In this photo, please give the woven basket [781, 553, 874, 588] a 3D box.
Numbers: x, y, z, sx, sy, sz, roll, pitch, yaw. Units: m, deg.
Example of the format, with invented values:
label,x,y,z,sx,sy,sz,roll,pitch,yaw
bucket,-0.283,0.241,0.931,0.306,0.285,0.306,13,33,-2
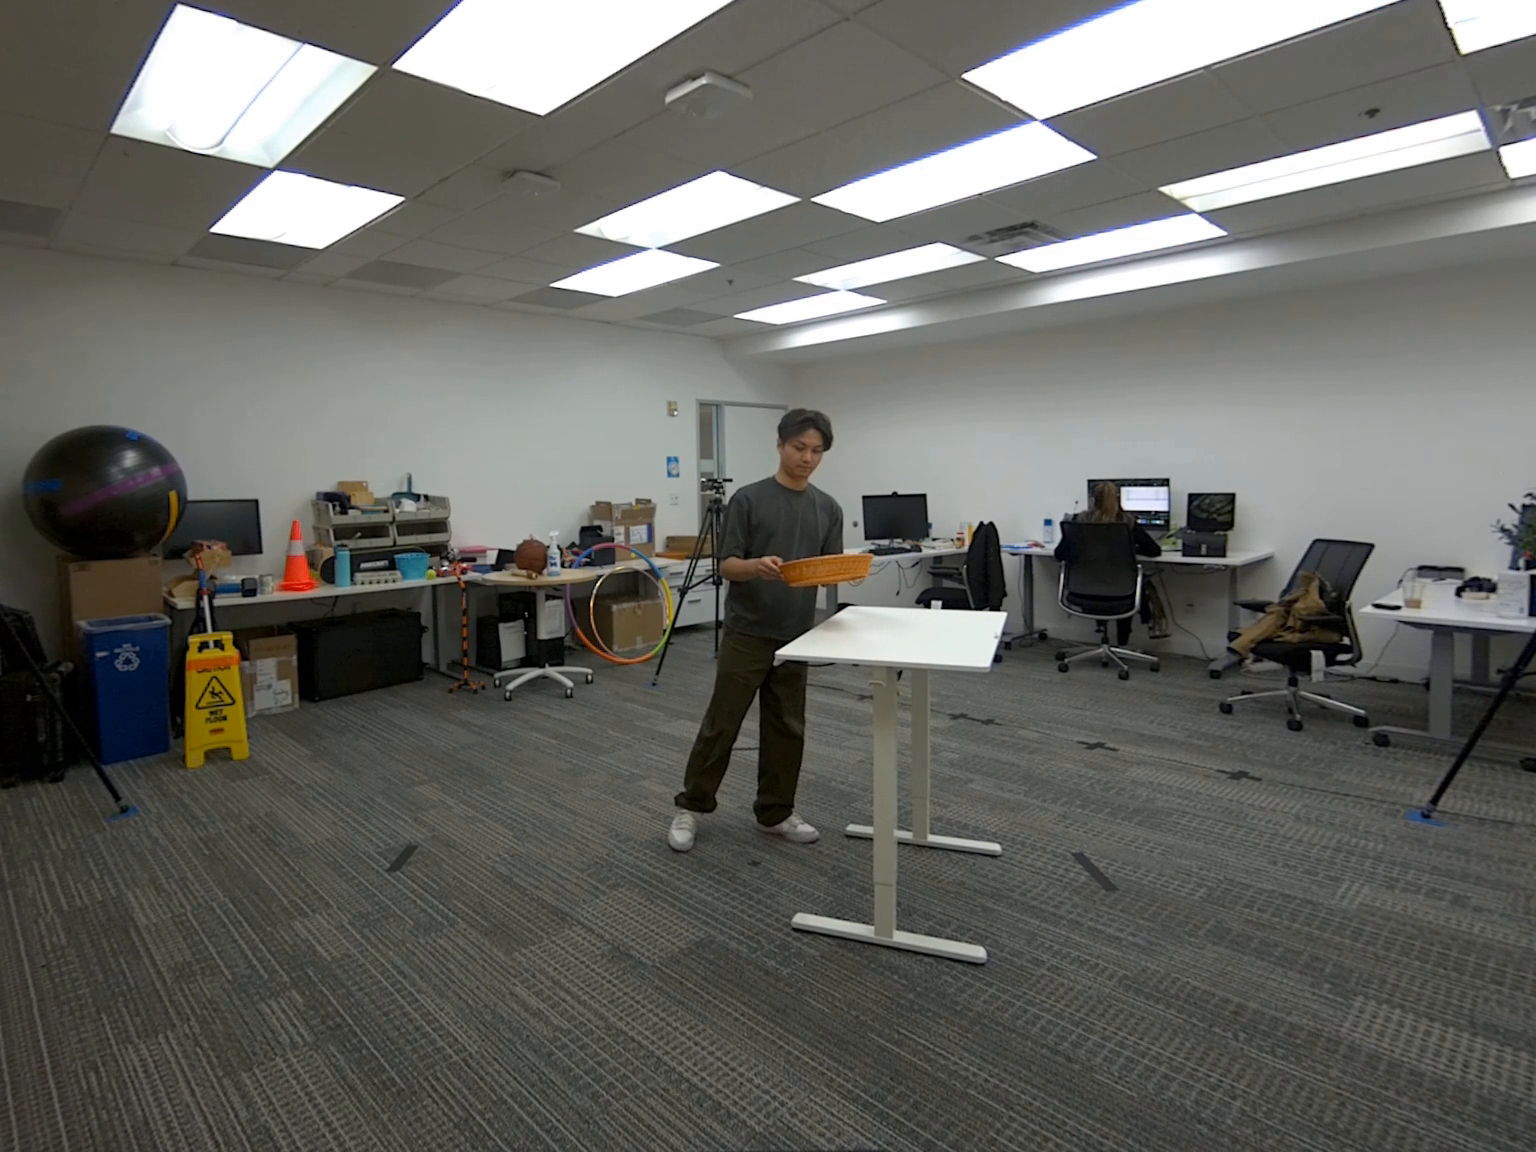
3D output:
label,x,y,z,sx,sy,sz,roll,pitch,yaw
woven basket,0.184,-0.018,2.952,0.344,0.074,0.255,-4,-4,-20
